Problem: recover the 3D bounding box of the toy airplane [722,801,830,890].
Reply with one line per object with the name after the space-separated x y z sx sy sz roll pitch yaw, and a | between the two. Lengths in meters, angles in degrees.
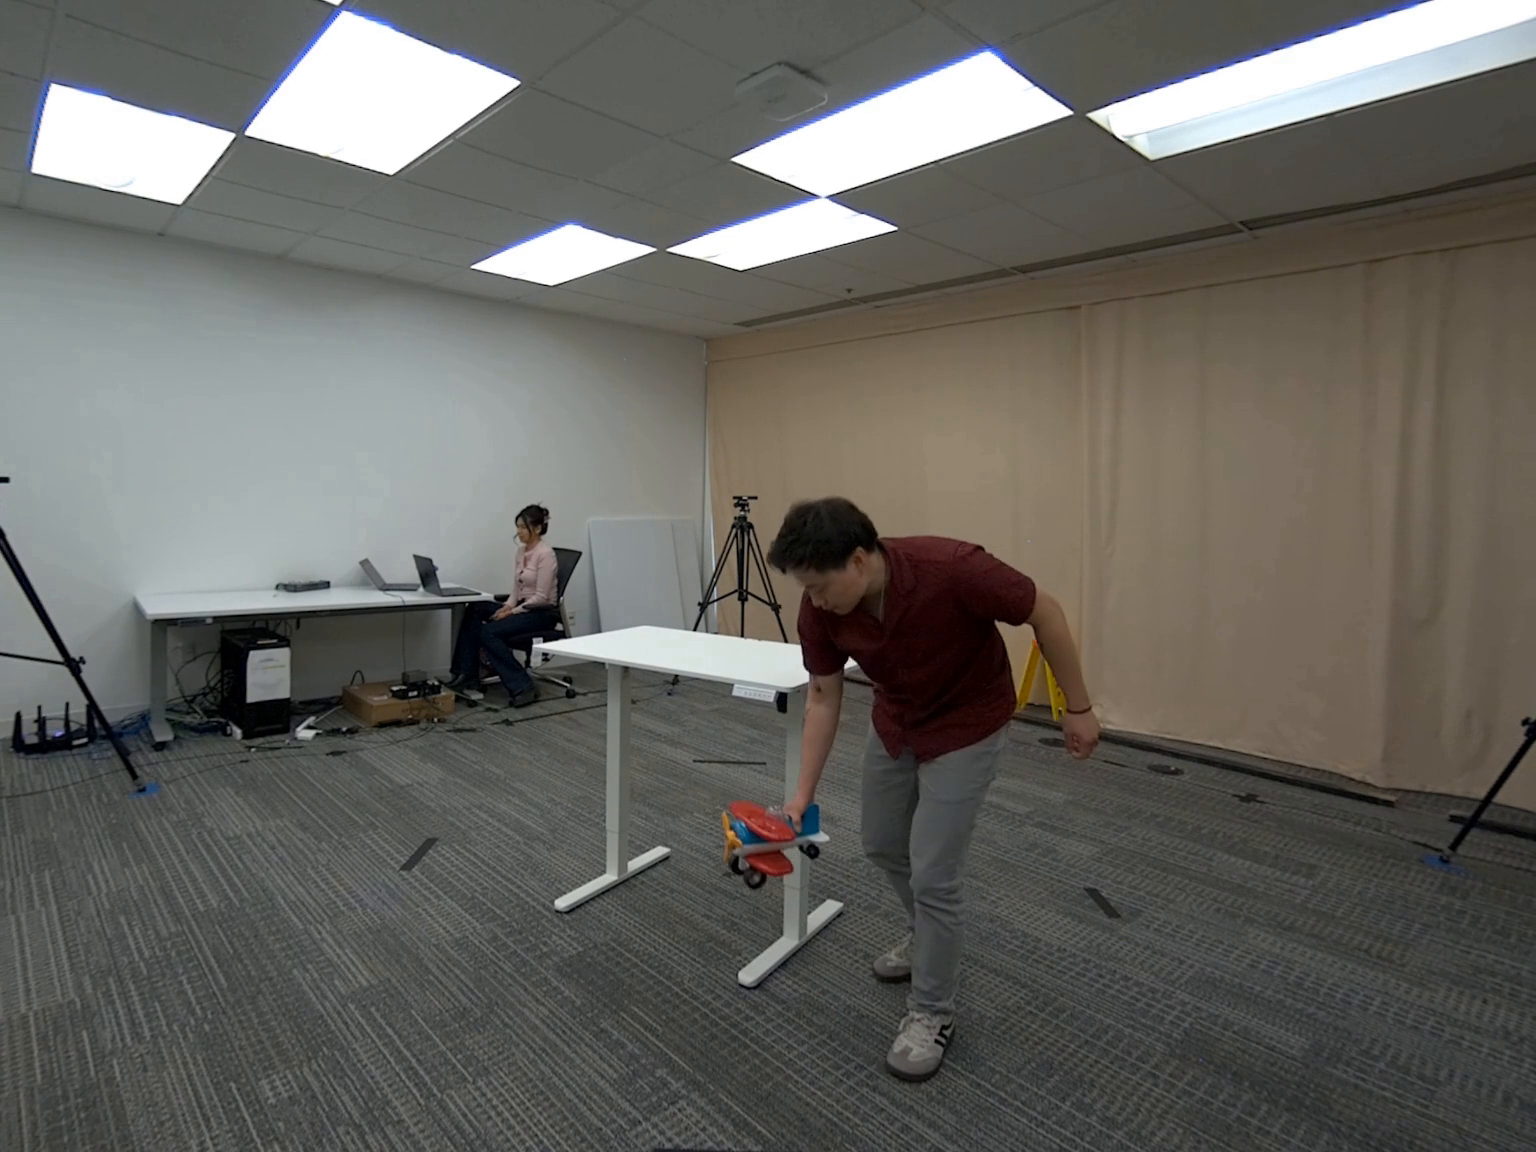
0.002 0.653 2.093 0.257 0.155 0.255 -1 12 38 | toy airplane
